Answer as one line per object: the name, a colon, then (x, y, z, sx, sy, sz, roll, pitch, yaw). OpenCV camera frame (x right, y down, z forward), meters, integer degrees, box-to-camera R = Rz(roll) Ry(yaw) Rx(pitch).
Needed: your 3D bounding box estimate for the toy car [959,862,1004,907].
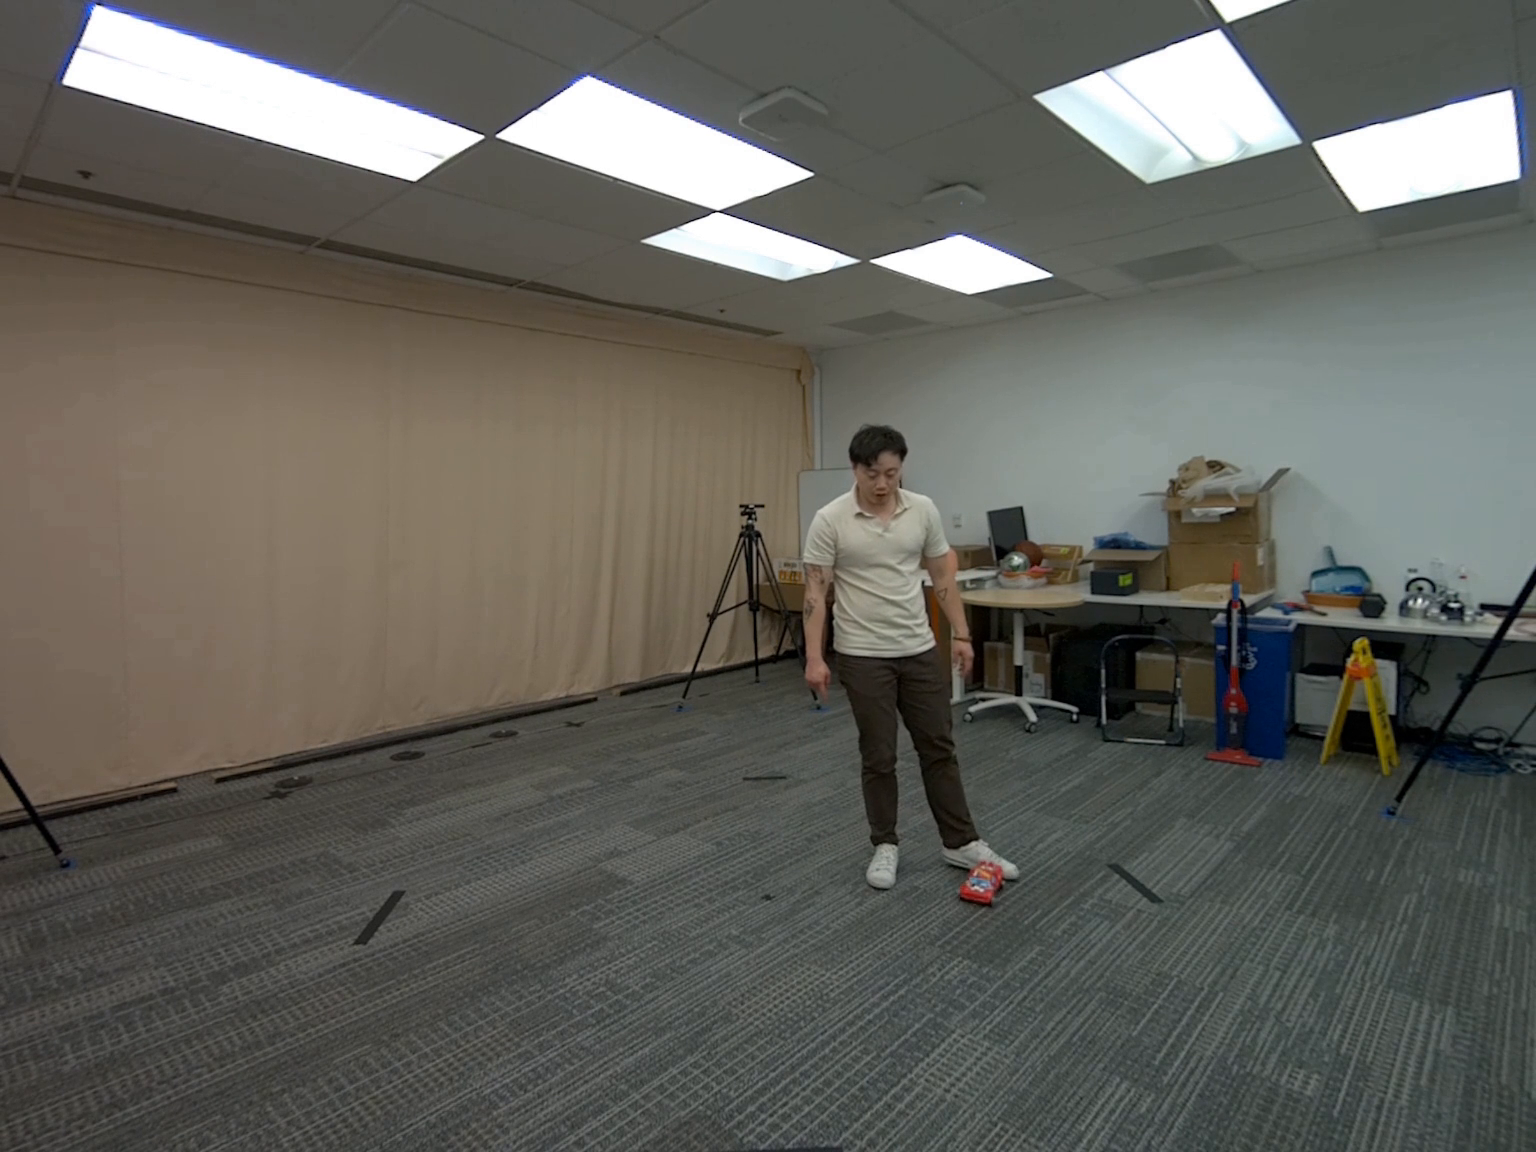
toy car: (0.765, 1.090, 2.997, 0.134, 0.082, 0.250, 1, 16, 28)
